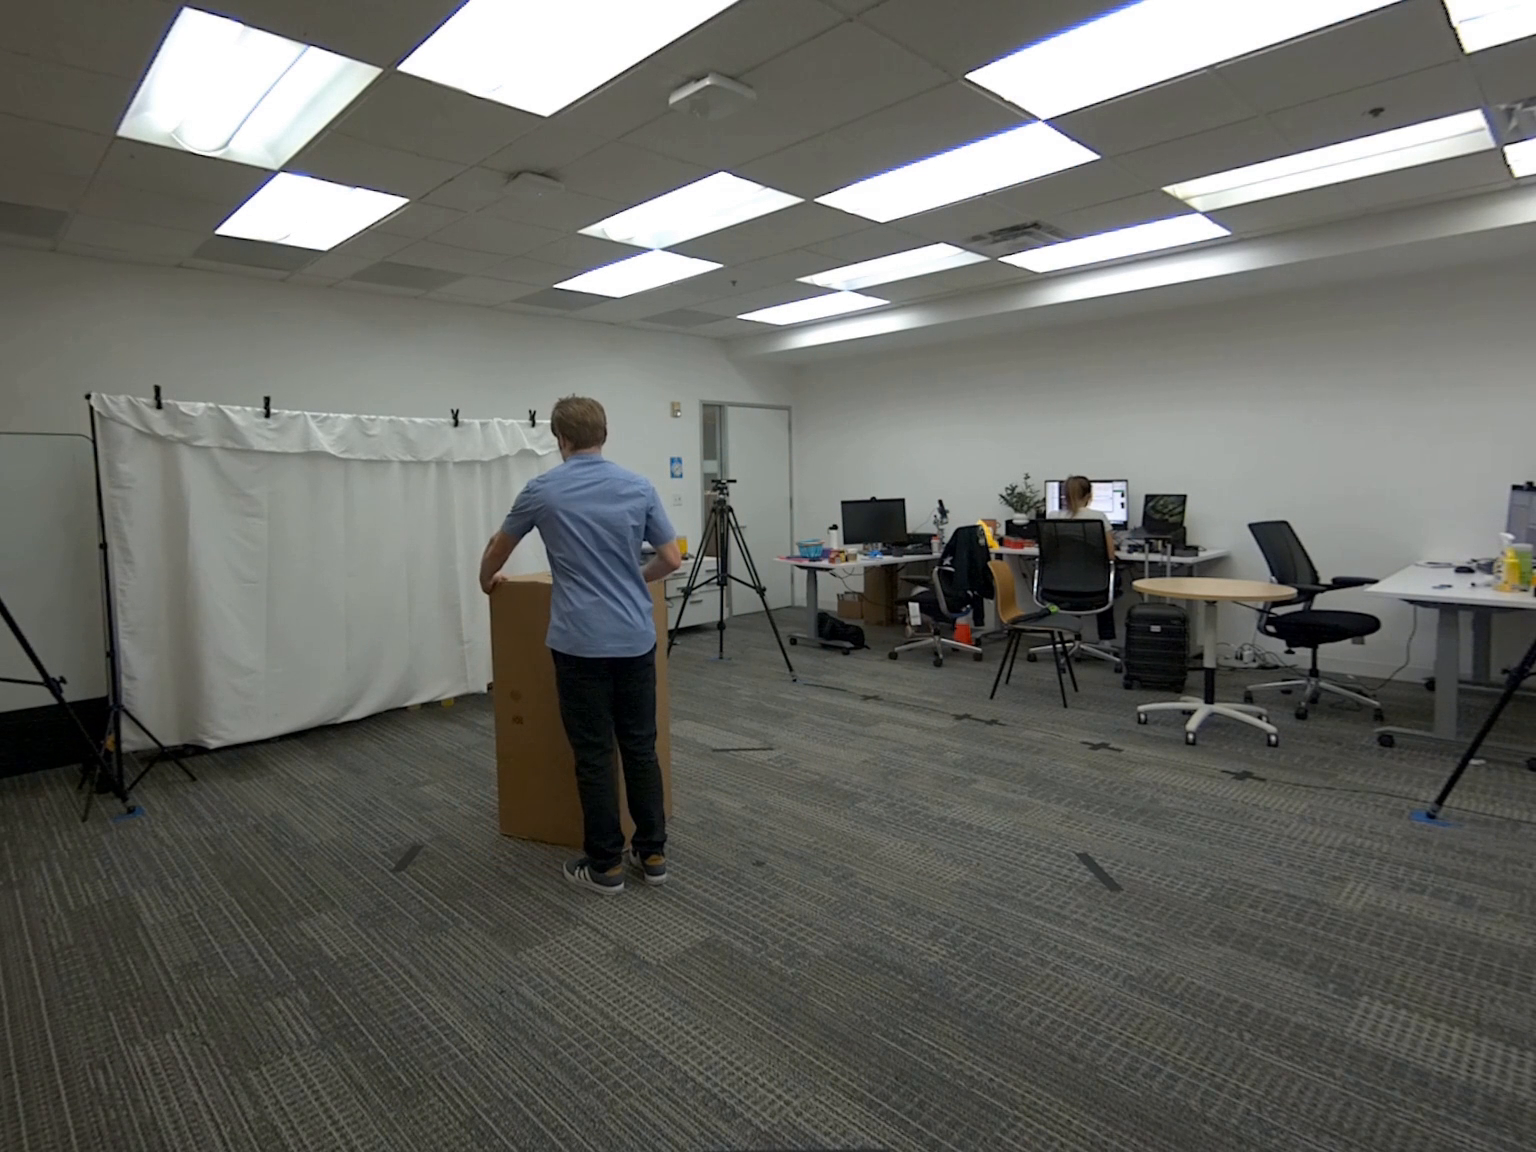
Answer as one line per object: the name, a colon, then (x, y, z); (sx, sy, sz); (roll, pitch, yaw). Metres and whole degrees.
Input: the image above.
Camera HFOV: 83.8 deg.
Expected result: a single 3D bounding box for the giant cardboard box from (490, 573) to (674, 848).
giant cardboard box: (-0.760, 0.513, 3.481); (0.590, 1.023, 0.418); (0, 3, 24)
